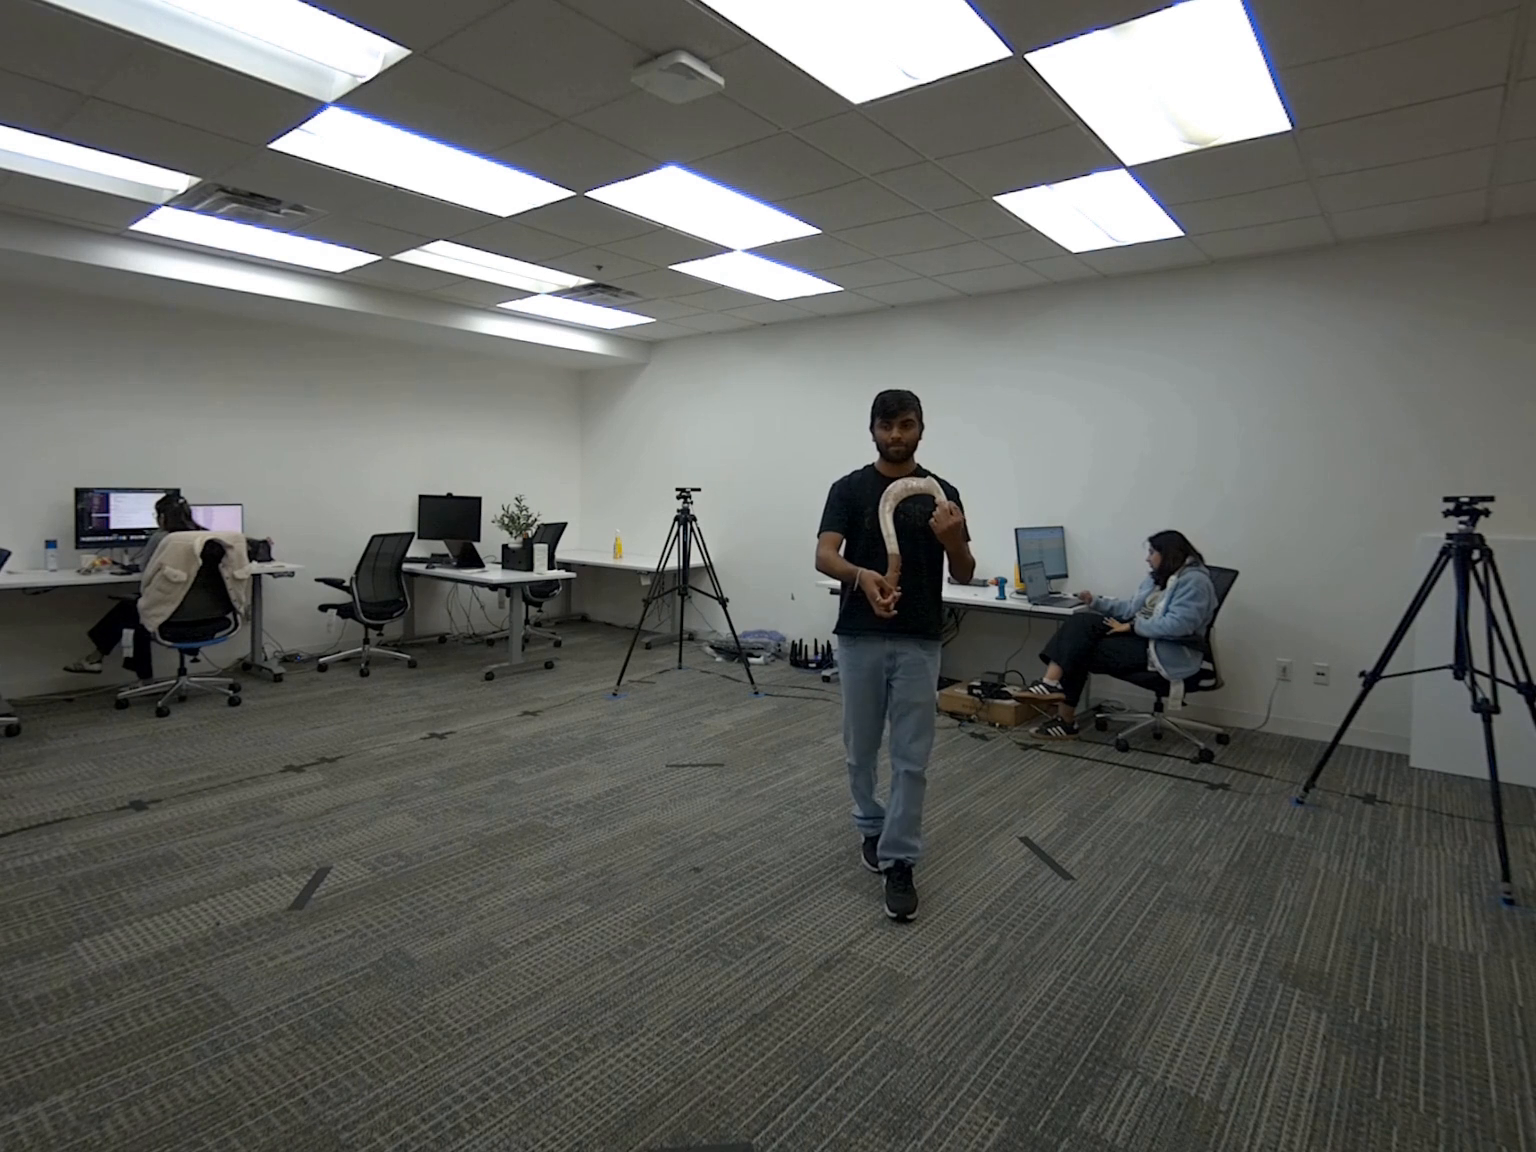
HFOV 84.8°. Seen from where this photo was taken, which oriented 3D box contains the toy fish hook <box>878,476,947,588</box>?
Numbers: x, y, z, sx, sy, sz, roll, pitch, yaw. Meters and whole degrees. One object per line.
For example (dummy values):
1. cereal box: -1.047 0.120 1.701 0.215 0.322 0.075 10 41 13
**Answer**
1. toy fish hook: 0.442 -0.114 2.659 0.230 0.516 0.046 -5 -34 27
